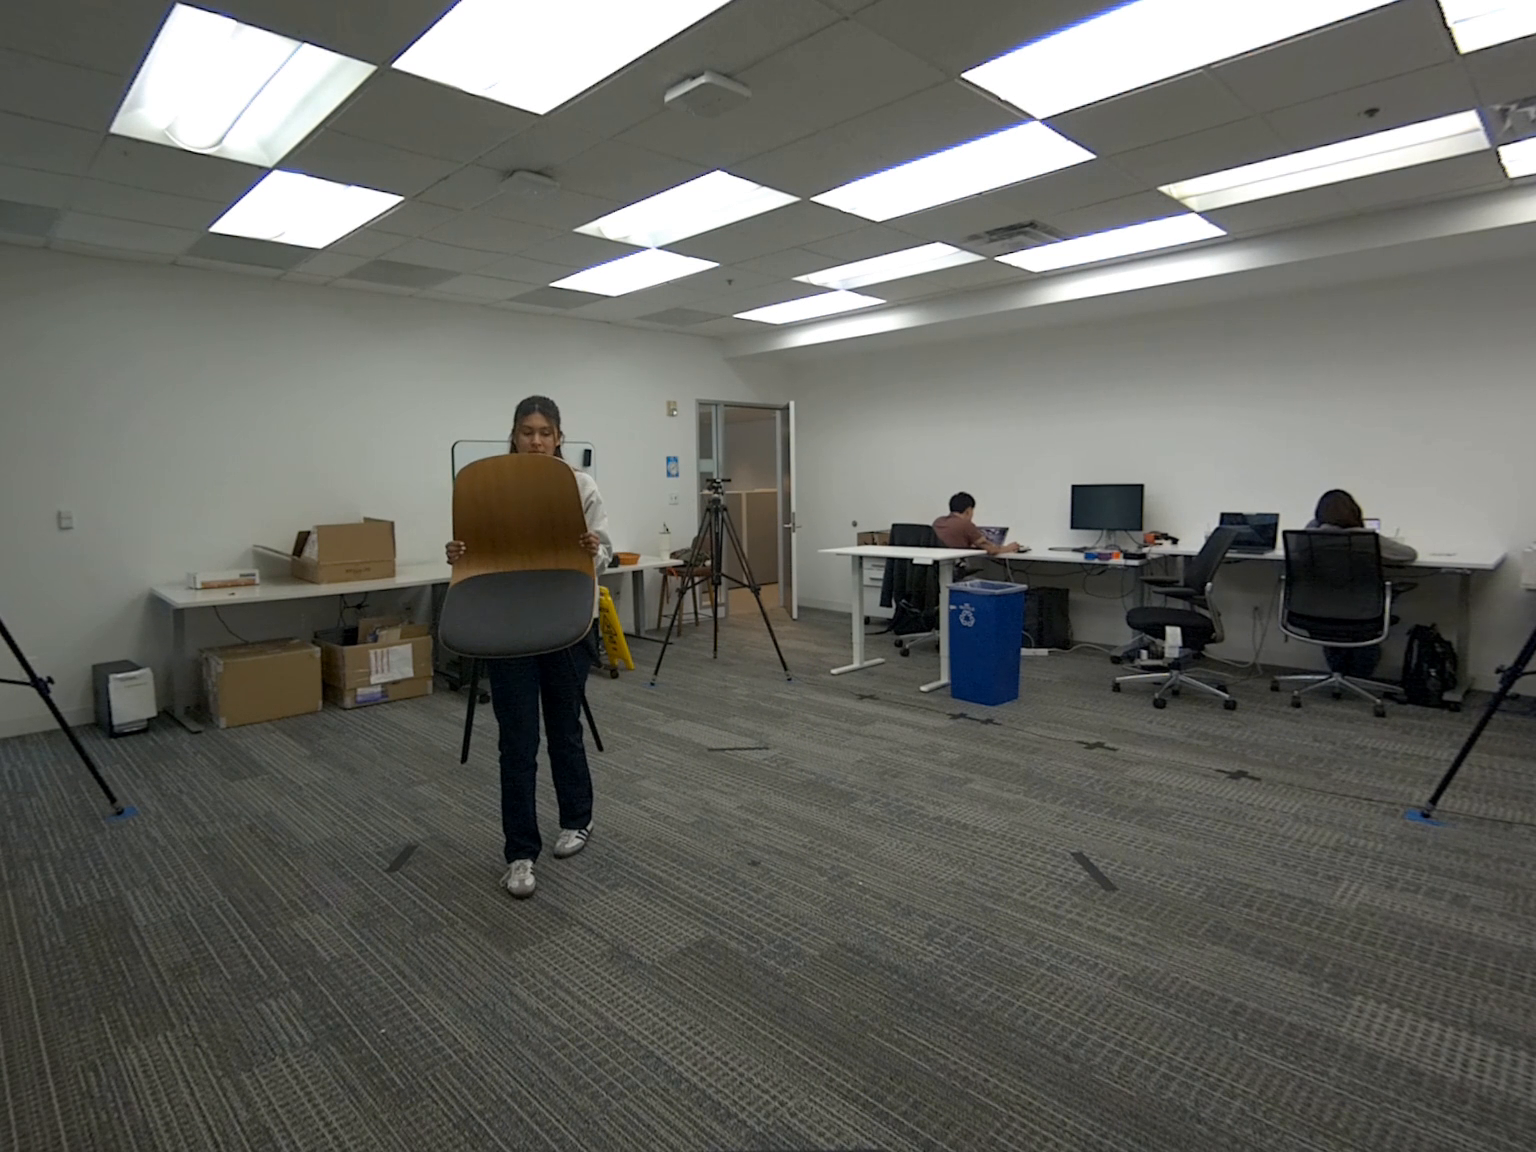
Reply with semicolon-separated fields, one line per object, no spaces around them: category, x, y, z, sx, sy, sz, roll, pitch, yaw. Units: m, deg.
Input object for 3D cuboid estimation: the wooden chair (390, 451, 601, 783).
wooden chair;-0.815;0.115;2.724;0.475;0.859;0.537;-3;26;-6
